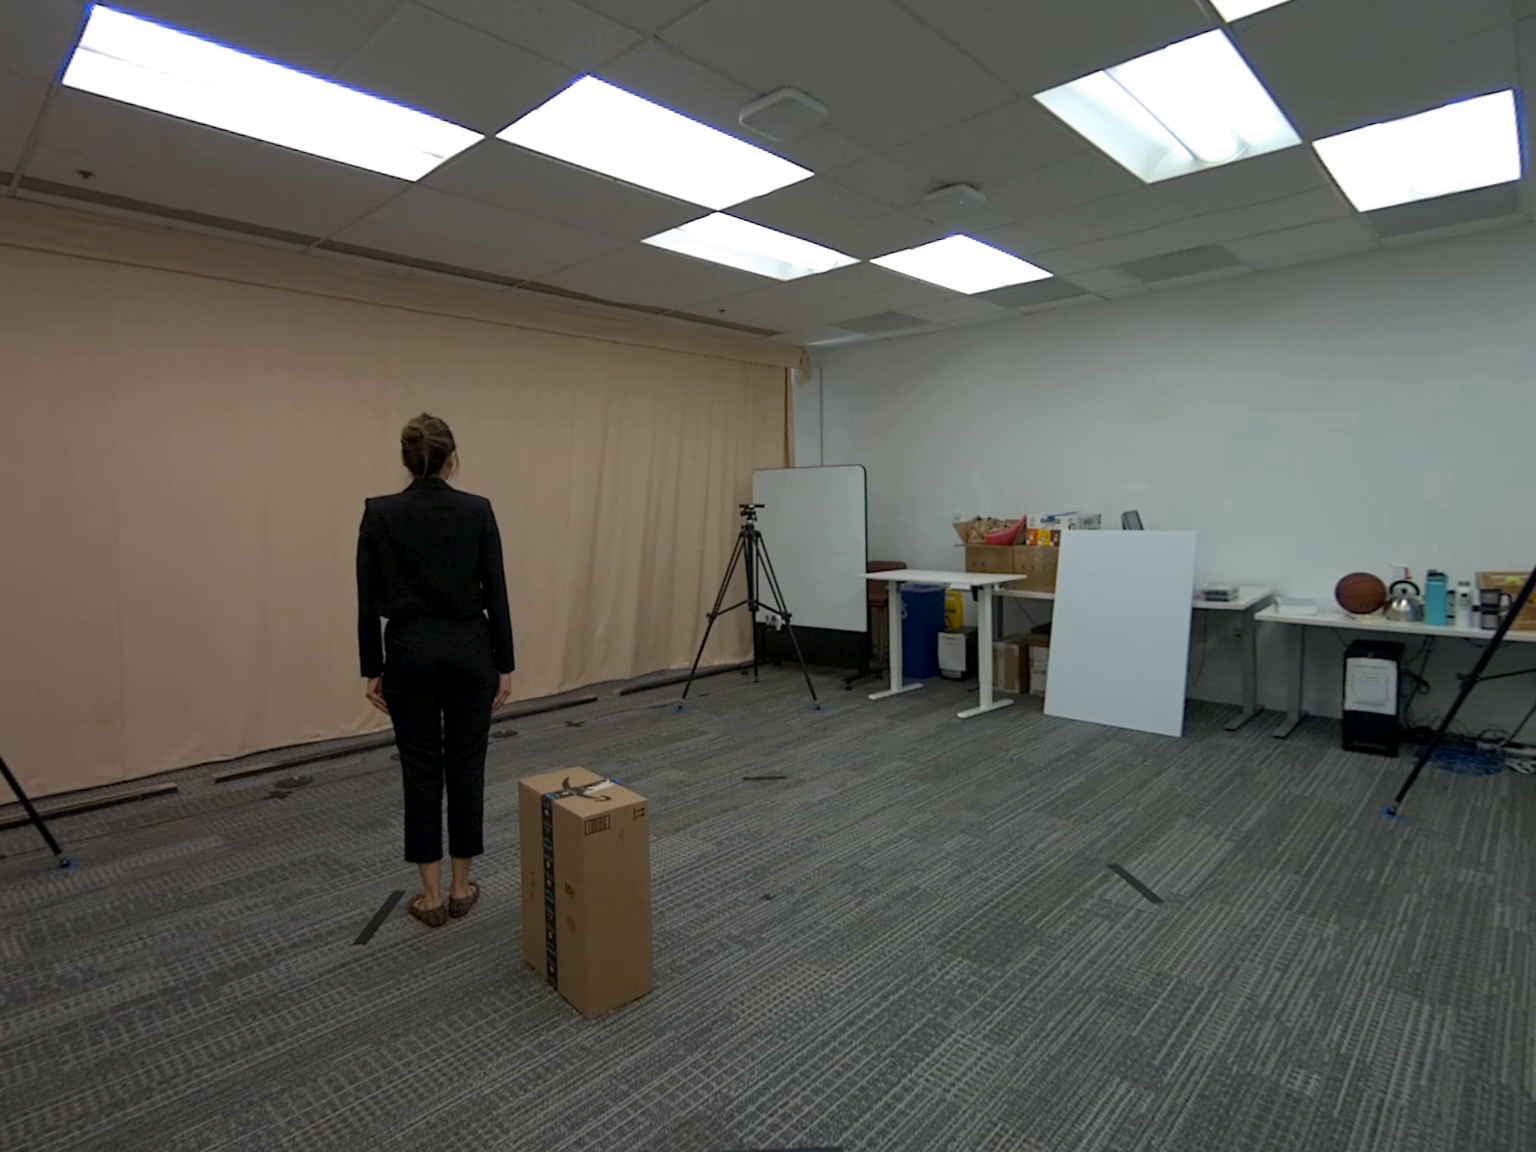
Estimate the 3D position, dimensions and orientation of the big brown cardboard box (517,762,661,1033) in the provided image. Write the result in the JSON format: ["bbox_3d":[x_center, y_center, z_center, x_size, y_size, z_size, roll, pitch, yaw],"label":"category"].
[{"bbox_3d":[-0.538,0.914,2.503,0.226,0.587,0.431,-4,6,-38],"label":"big brown cardboard box"}]
